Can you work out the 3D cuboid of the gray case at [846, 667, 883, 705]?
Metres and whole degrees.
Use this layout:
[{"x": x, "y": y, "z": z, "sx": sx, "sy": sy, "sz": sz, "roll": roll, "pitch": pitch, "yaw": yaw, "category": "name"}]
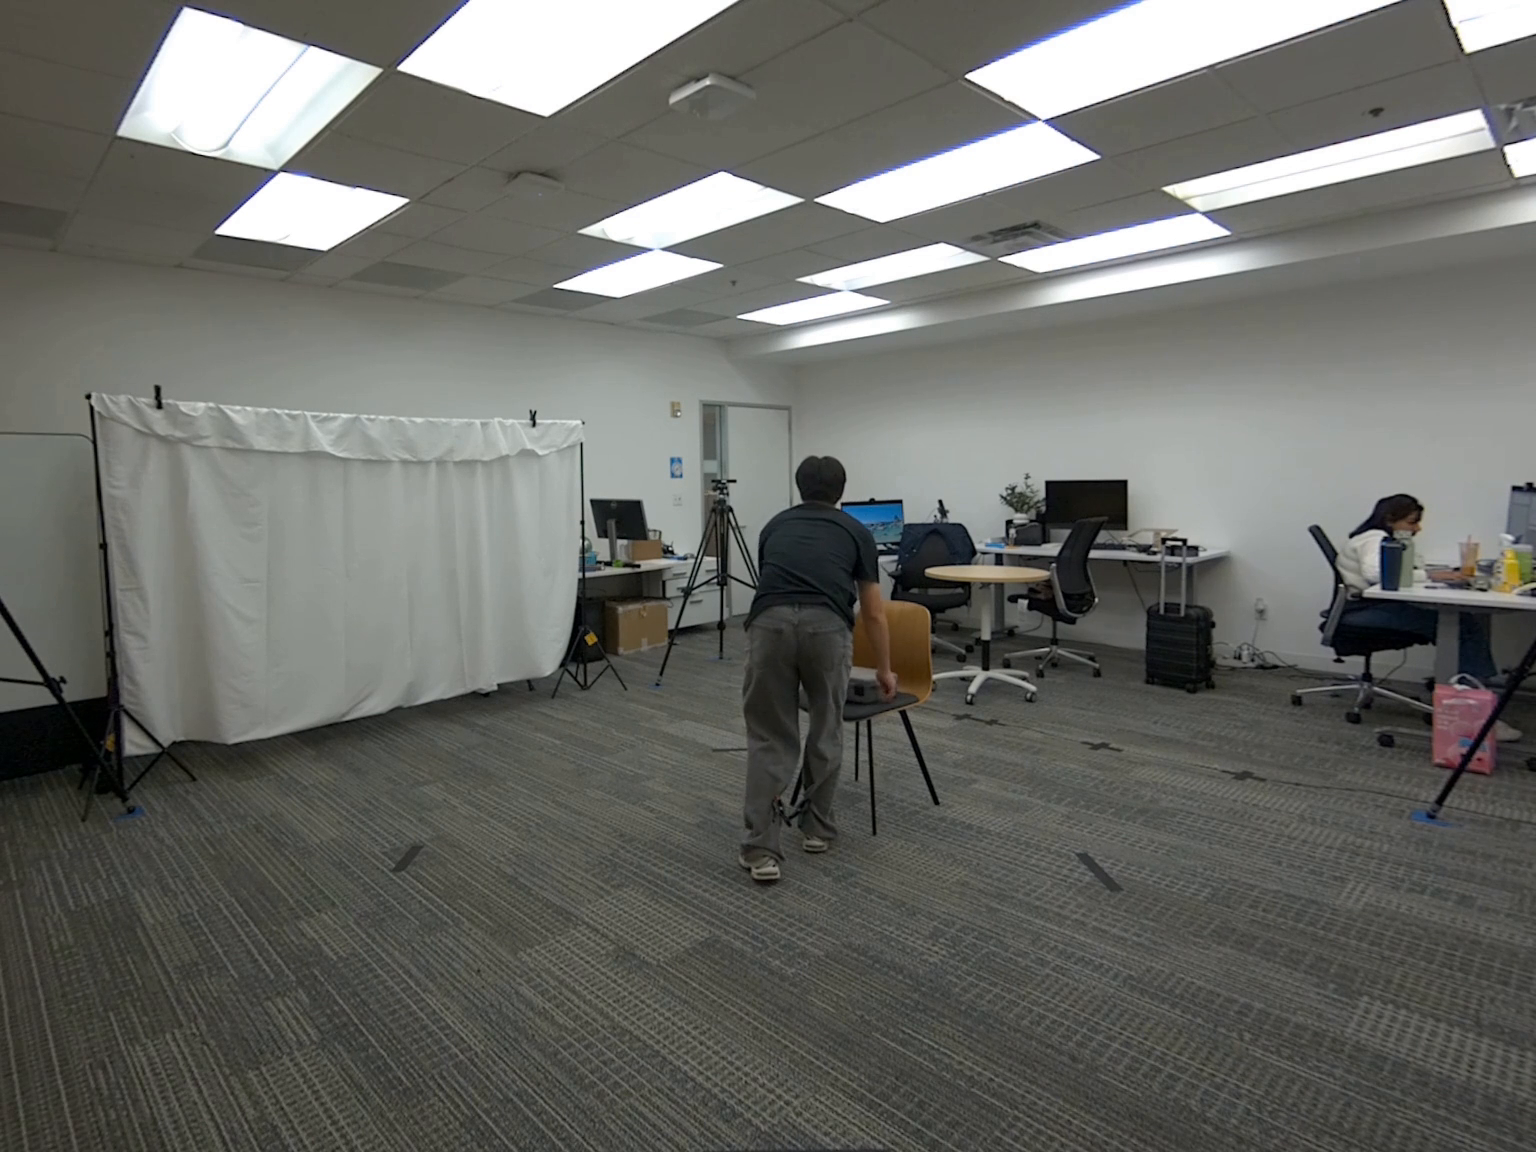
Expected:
[{"x": 0.384, "y": 0.456, "z": 3.605, "sx": 0.271, "sy": 0.103, "sz": 0.279, "roll": 4, "pitch": 4, "yaw": 40, "category": "gray case"}]
